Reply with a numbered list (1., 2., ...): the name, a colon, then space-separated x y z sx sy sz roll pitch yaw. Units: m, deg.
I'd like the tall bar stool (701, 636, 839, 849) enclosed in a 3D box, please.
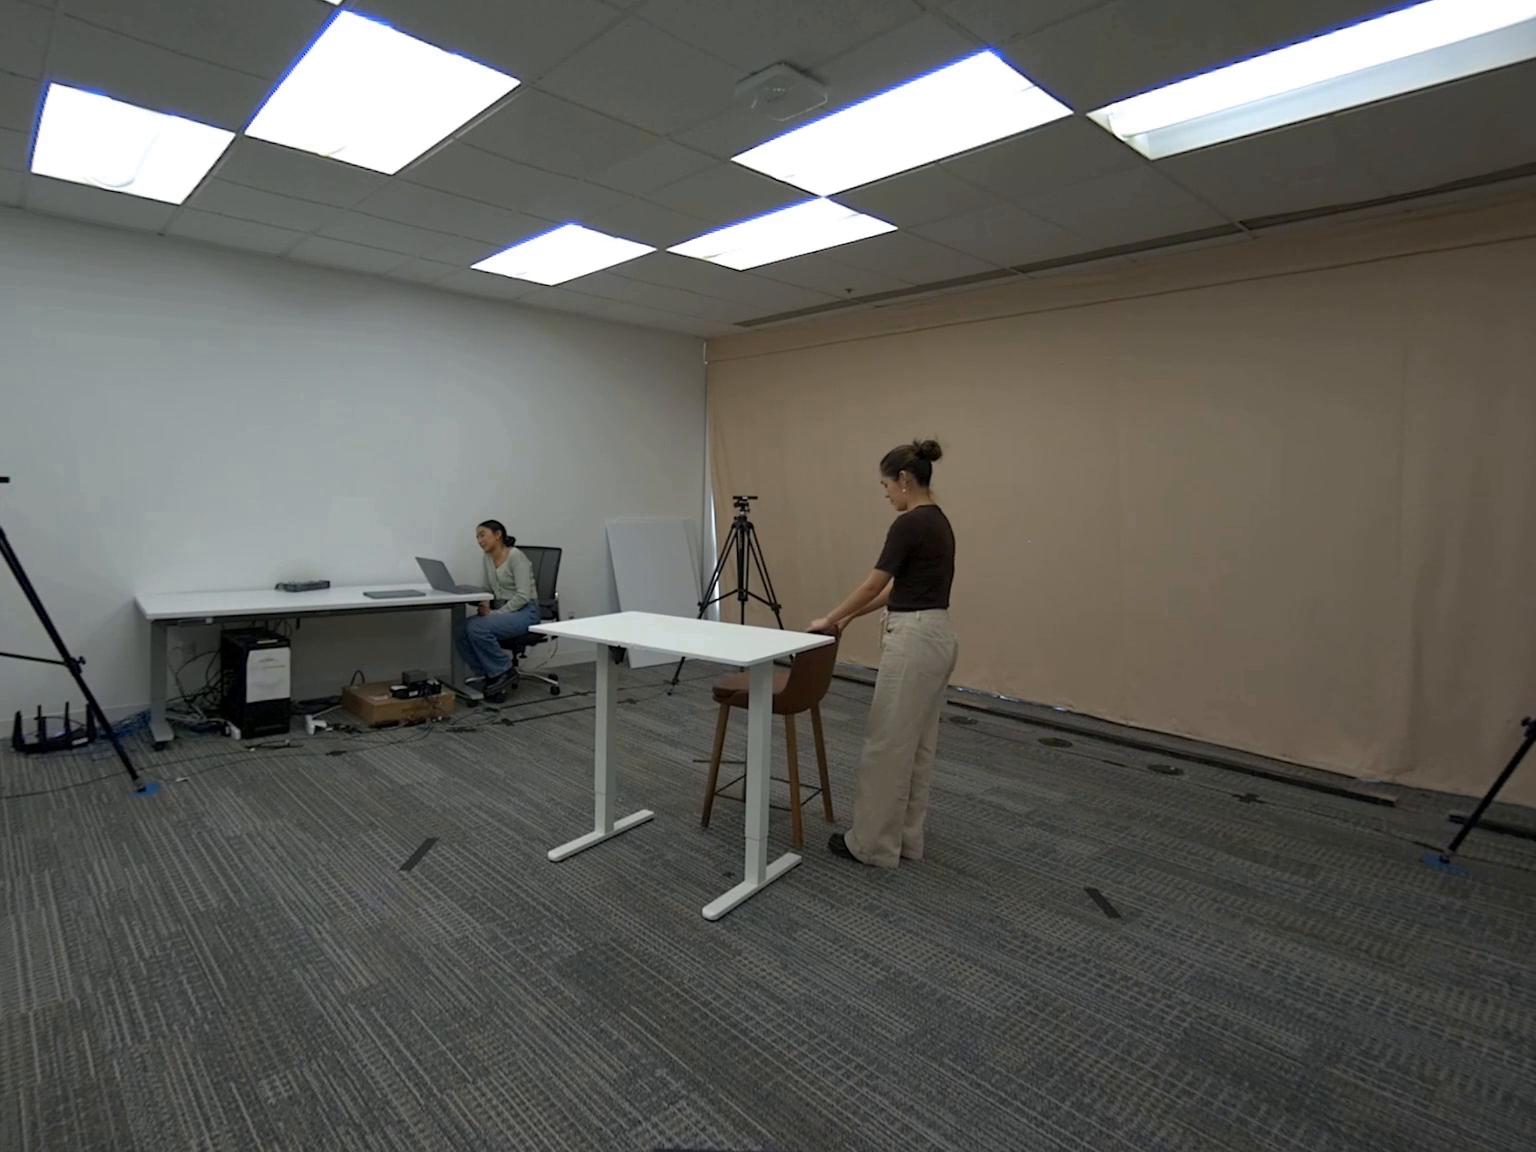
1. tall bar stool: 0.024 0.629 3.589 0.478 0.887 0.448 7 5 28
